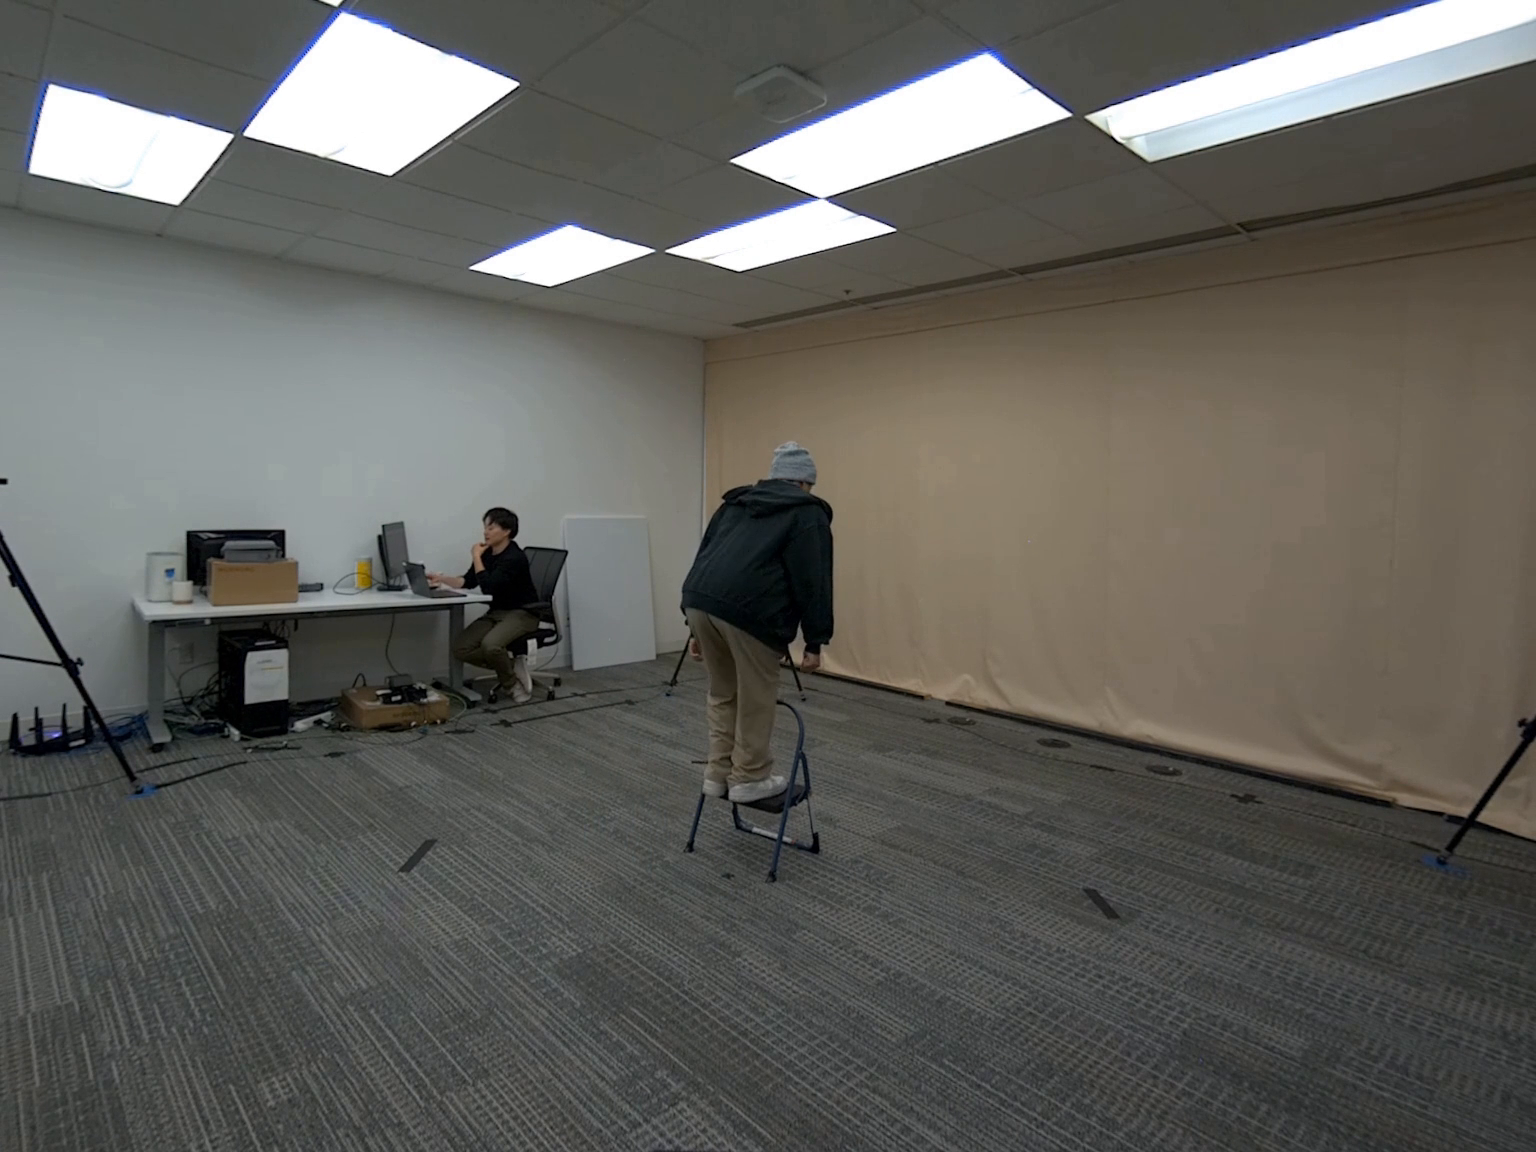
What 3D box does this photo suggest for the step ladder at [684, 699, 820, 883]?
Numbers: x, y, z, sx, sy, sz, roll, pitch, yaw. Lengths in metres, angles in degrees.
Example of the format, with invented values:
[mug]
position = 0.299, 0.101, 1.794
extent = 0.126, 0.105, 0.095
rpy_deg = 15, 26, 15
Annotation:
[step ladder]
position = -0.054, 0.792, 3.309
extent = 0.441, 0.605, 0.341
rpy_deg = 4, 4, 36
